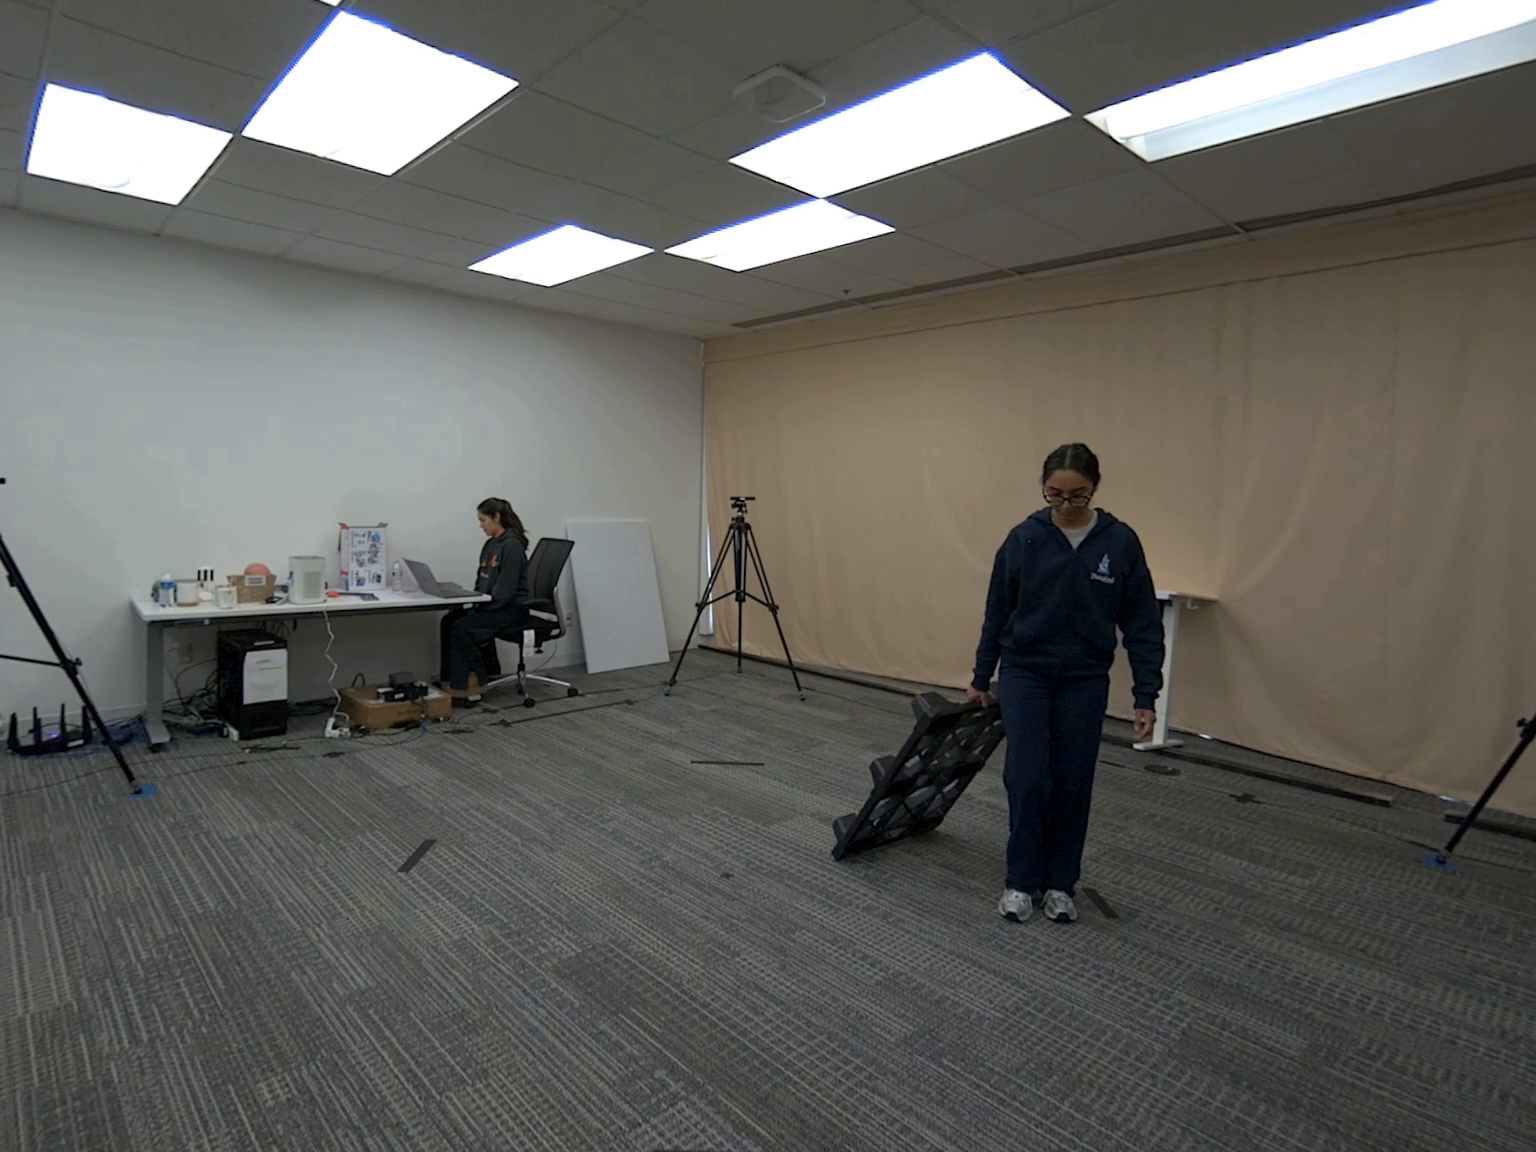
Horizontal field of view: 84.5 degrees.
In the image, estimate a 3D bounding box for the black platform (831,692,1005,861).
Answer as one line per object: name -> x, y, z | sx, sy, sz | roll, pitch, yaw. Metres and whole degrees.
black platform -> 0.595, 0.742, 3.272 | 0.591, 0.799, 0.148 | -1, 38, -39
